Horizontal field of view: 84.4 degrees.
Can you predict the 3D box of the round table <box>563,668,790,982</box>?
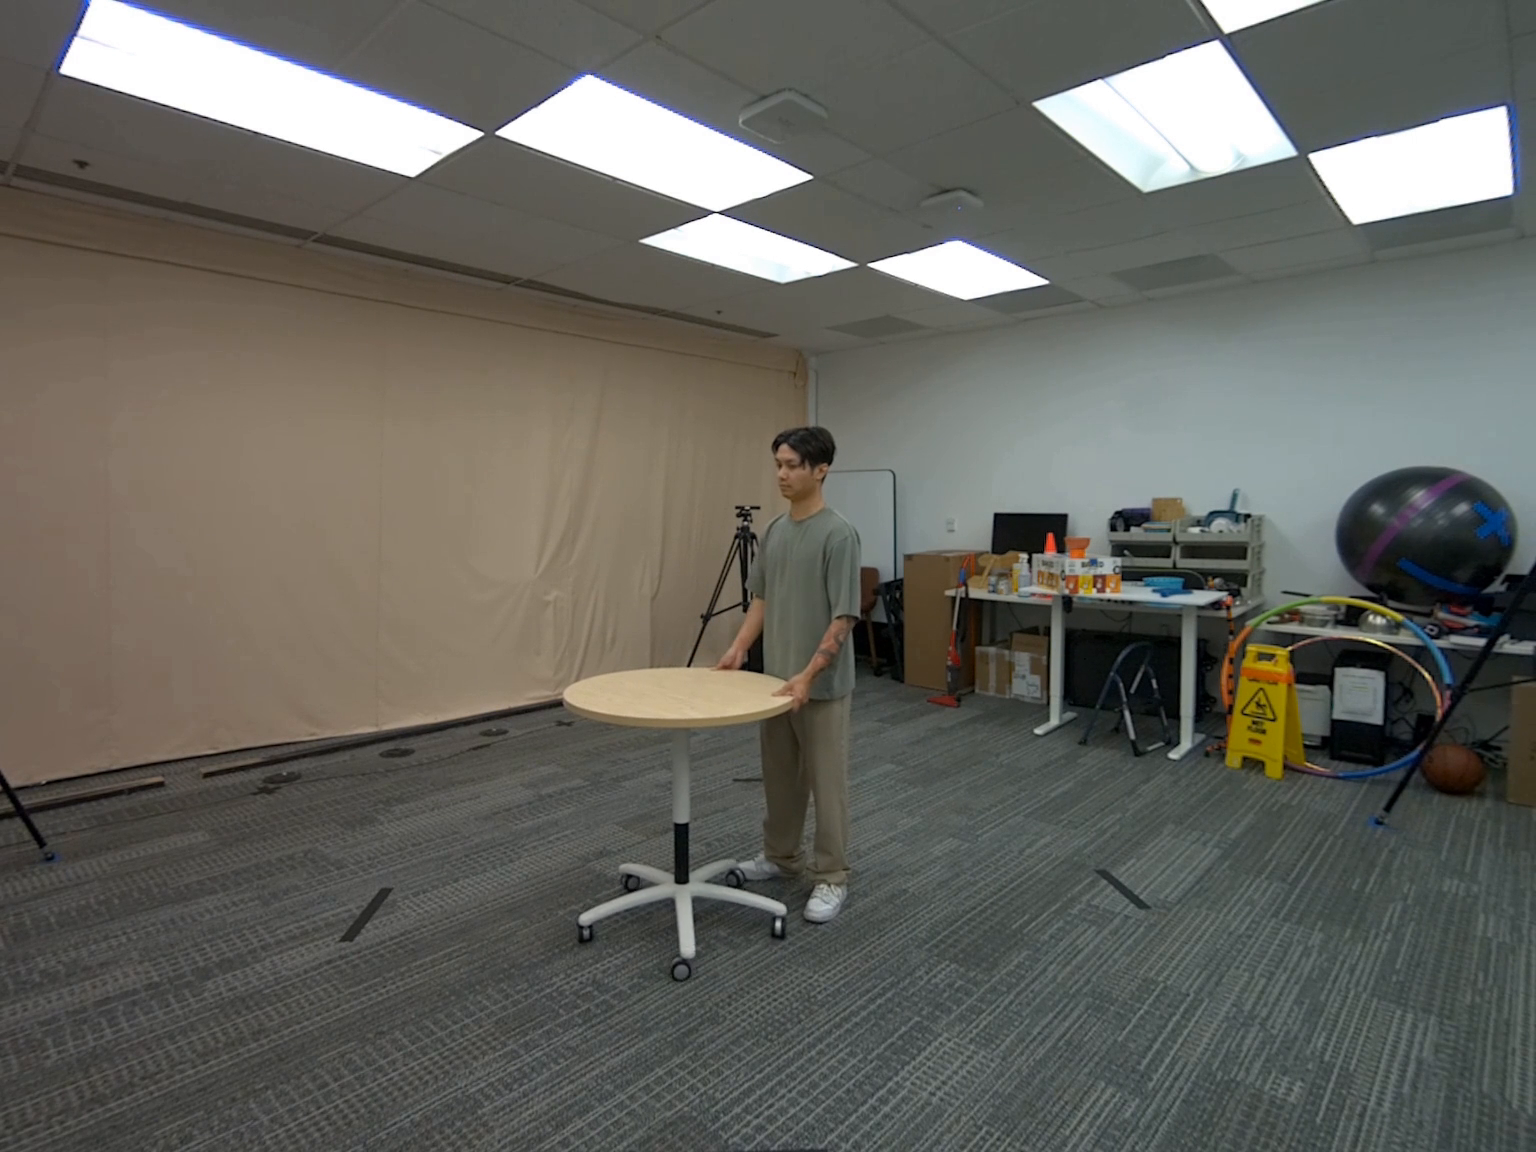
[{"bbox_3d":[-0.303,0.768,2.793,0.784,0.785,0.787,1,3,-2],"label":"round table"}]
